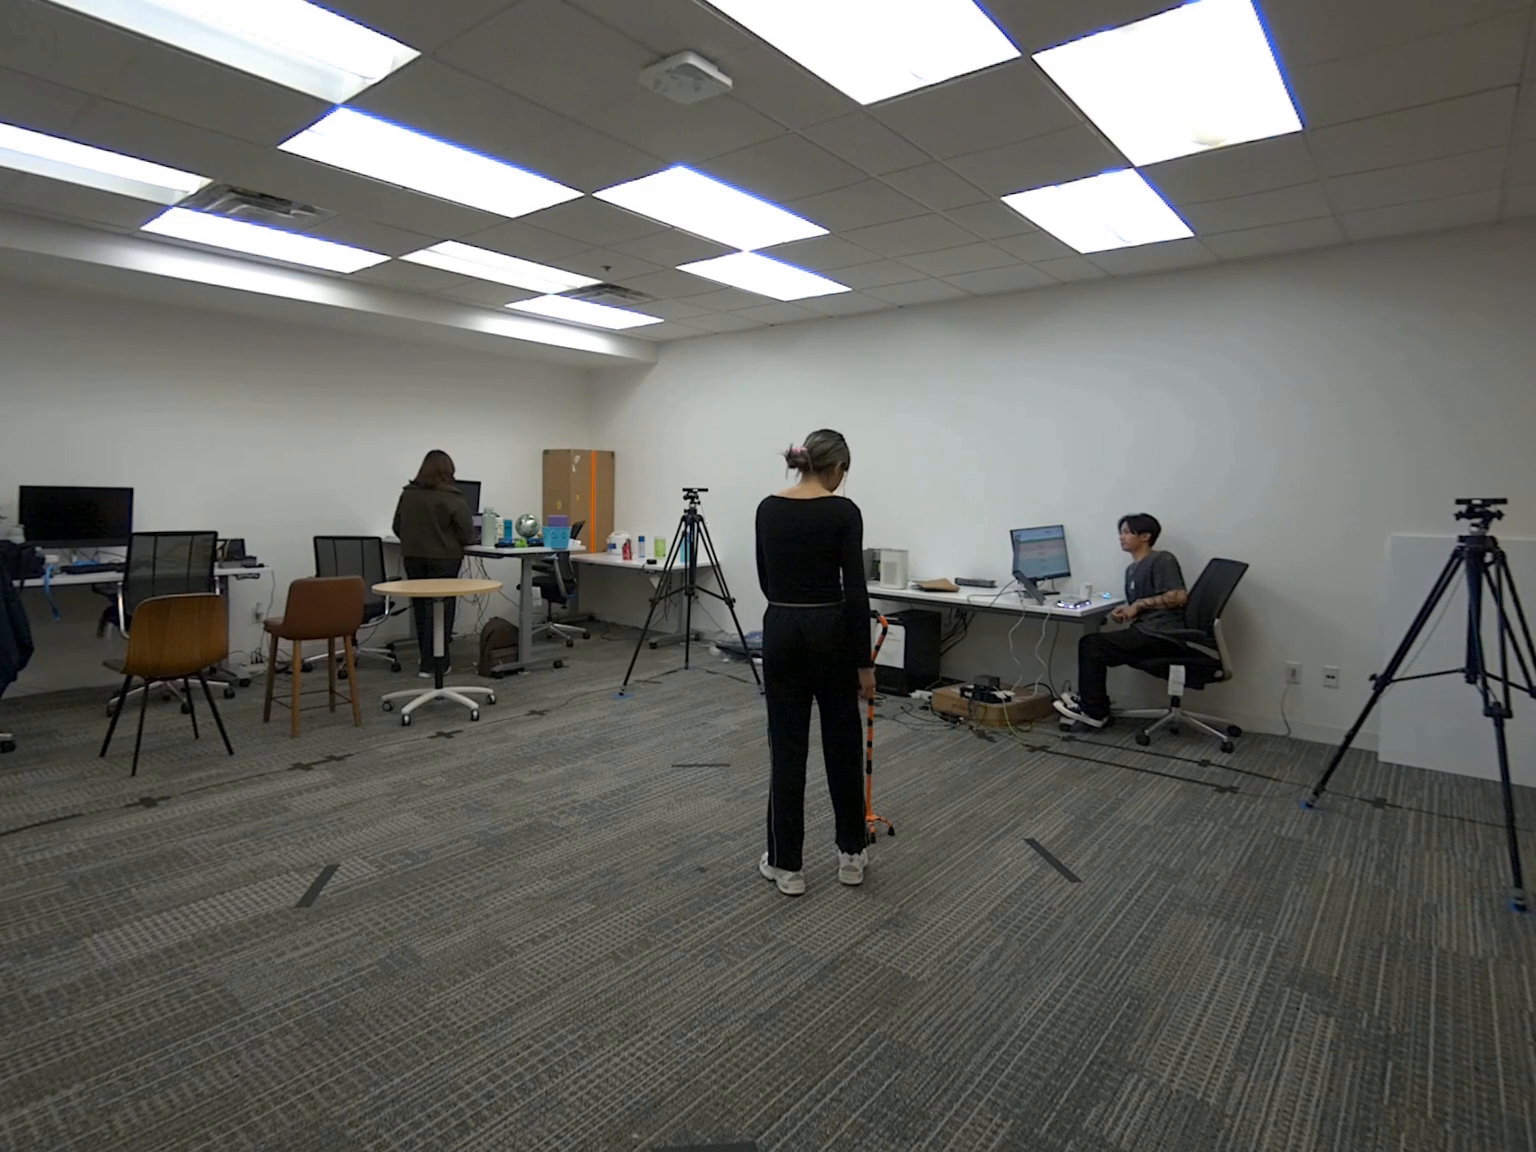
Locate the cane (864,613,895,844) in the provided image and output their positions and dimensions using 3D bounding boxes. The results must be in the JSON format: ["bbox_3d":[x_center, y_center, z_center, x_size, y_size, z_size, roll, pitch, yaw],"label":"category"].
[{"bbox_3d":[0.397,0.593,3.472,0.147,0.905,0.213,-2,4,-43],"label":"cane"}]
